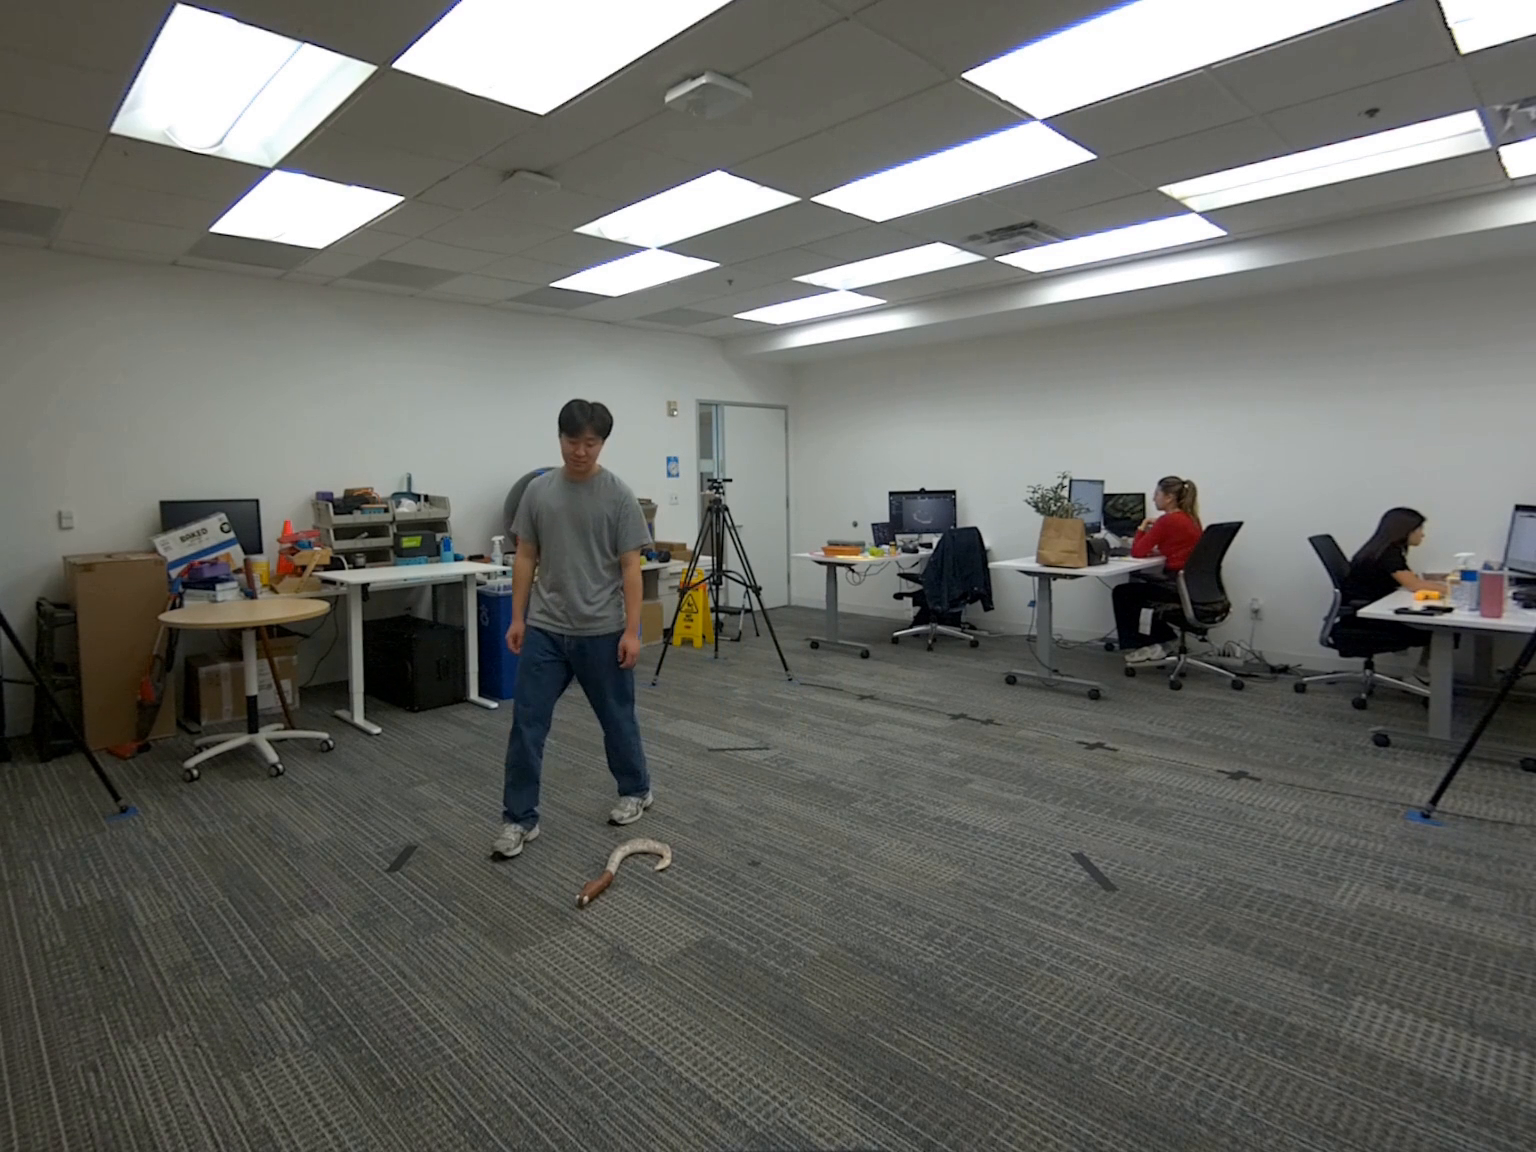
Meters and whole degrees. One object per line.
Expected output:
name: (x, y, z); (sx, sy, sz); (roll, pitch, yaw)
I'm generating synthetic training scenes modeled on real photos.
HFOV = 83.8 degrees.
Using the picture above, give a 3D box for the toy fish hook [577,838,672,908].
toy fish hook: (-0.495, 1.042, 3.007); (0.228, 0.048, 0.501); (0, 7, 17)
